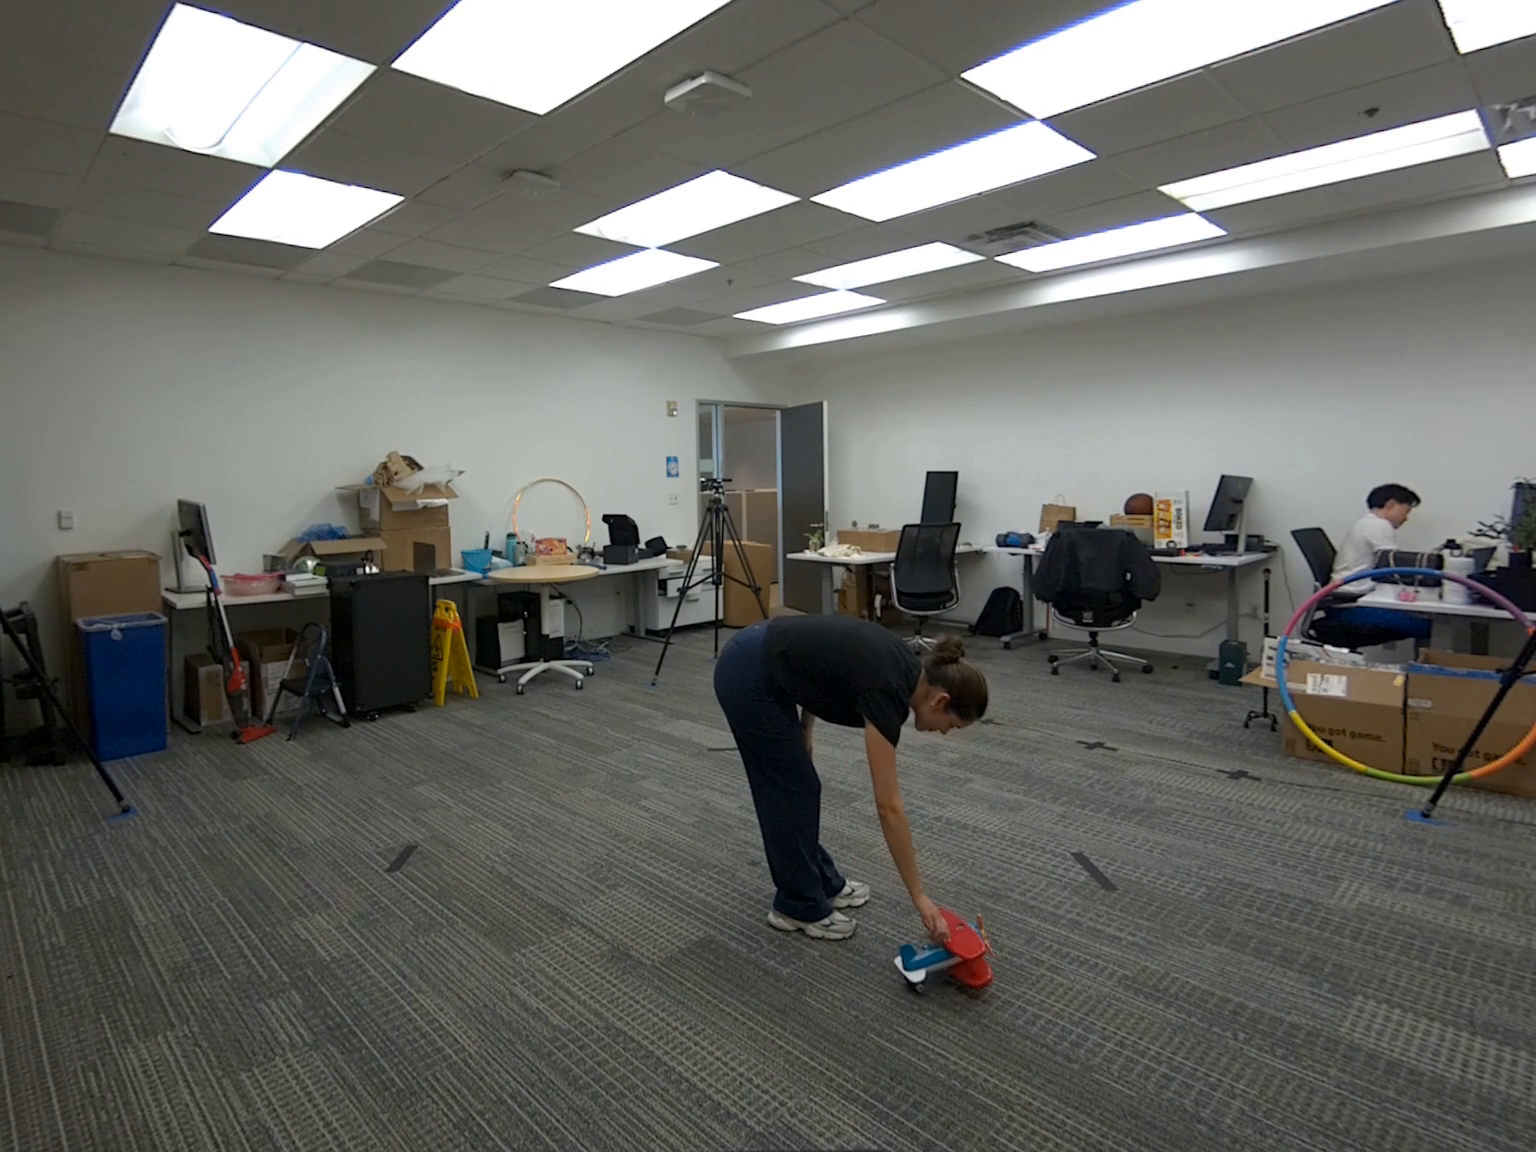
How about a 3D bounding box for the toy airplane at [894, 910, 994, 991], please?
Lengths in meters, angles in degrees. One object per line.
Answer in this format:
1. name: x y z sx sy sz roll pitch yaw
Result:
1. toy airplane: 0.497 1.049 2.351 0.259 0.156 0.252 4 7 45
